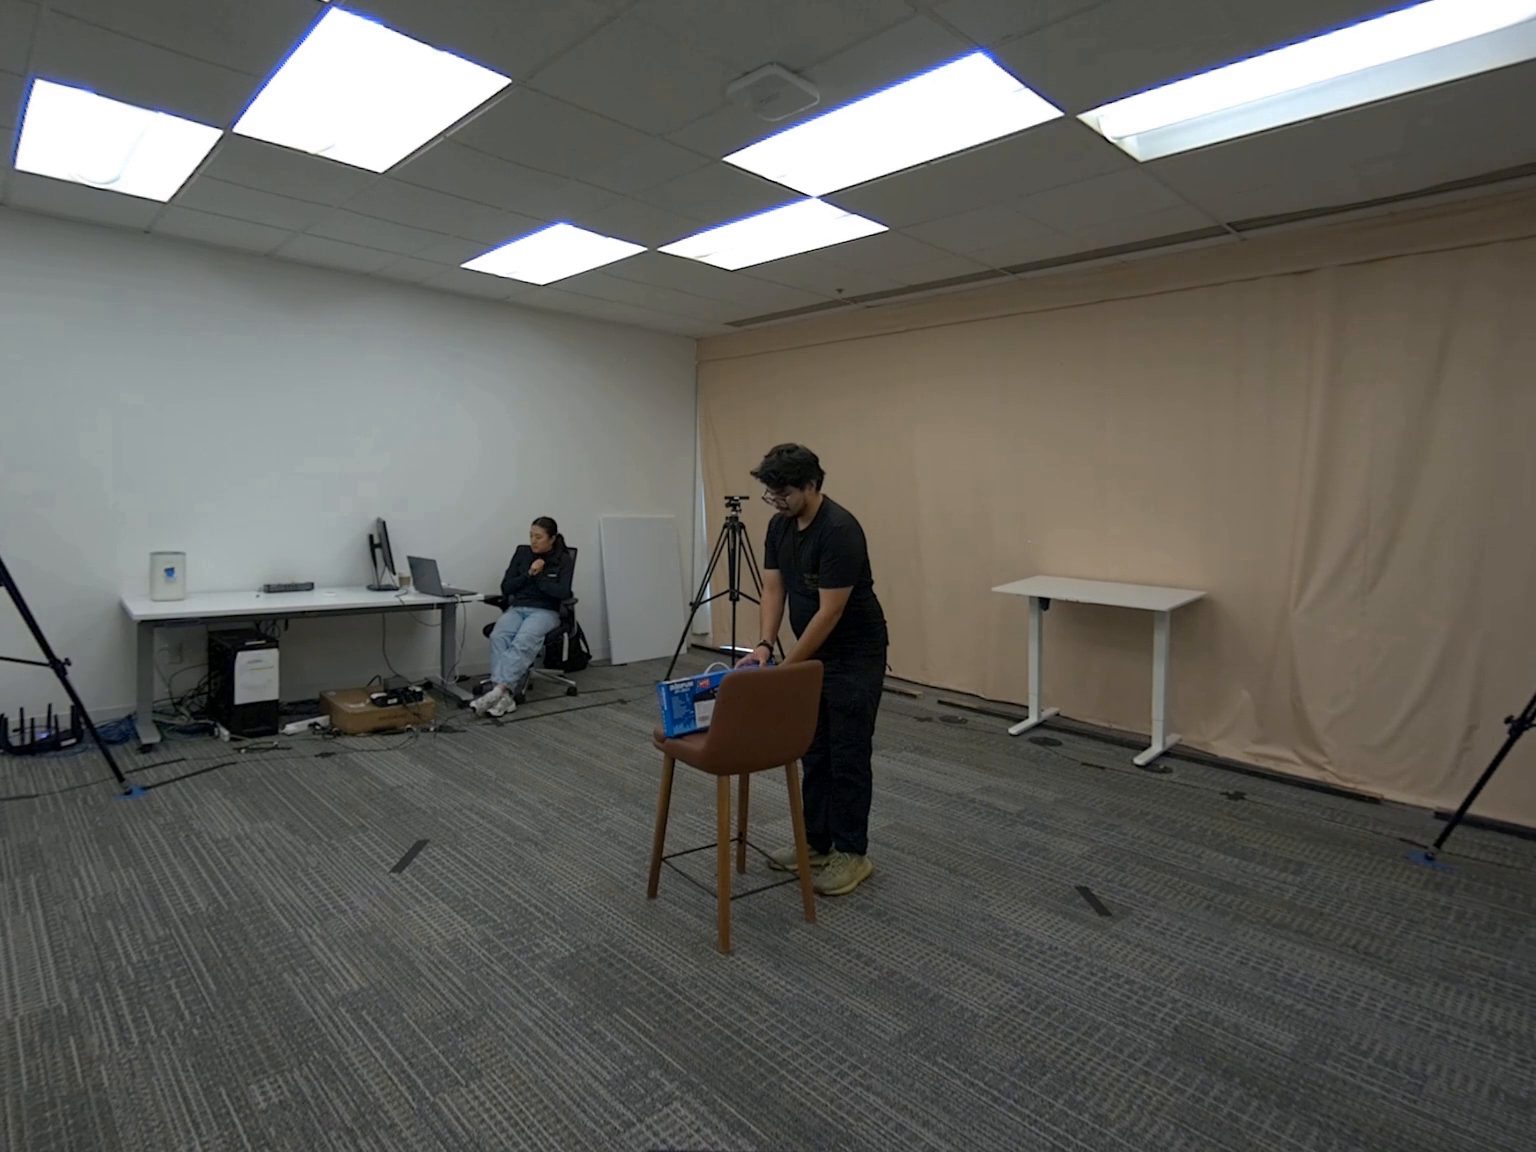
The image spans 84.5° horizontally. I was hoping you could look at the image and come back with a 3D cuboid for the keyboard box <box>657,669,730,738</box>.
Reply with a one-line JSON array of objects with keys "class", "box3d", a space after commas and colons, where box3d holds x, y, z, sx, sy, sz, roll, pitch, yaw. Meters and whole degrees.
[{"class": "keyboard box", "box3d": [-0.165, 0.415, 2.849, 0.428, 0.176, 0.060, -7, -2, -36]}]
